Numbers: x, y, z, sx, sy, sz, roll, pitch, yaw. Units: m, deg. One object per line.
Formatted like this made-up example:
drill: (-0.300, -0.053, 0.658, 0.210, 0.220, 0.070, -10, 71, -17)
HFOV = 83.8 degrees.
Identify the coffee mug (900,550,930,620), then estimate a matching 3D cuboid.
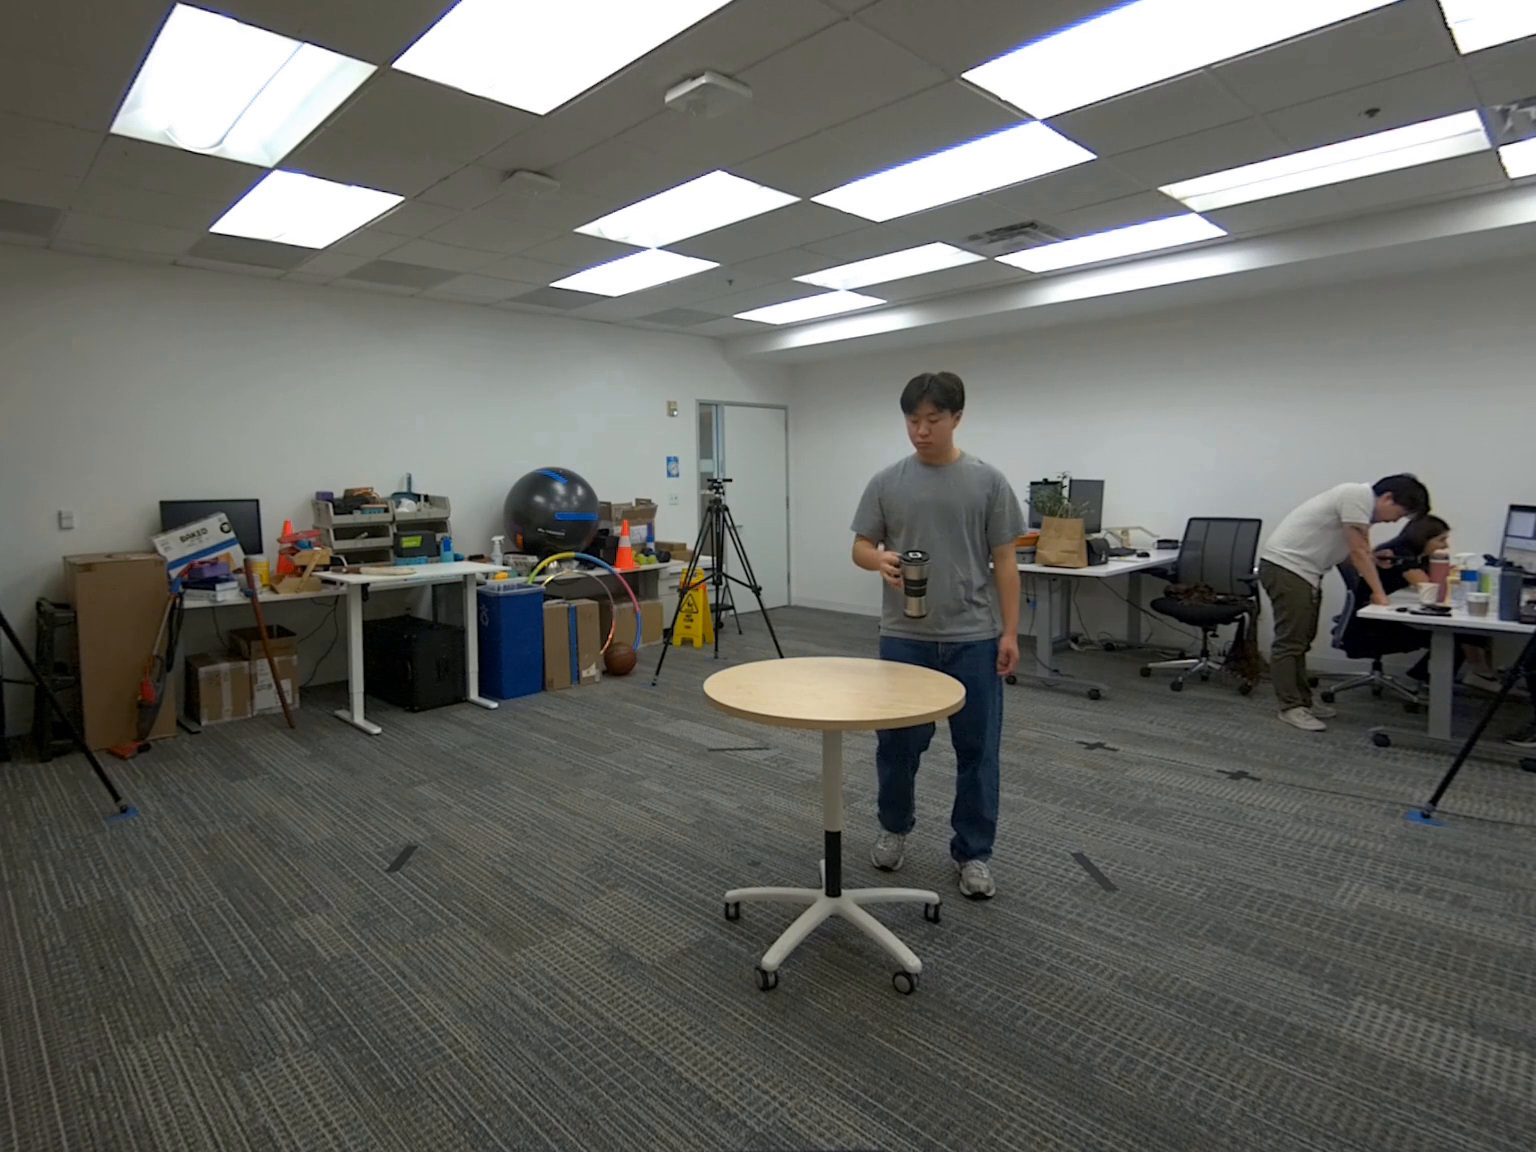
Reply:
coffee mug: (0.464, 0.023, 2.716, 0.088, 0.199, 0.124, -5, 18, -3)
